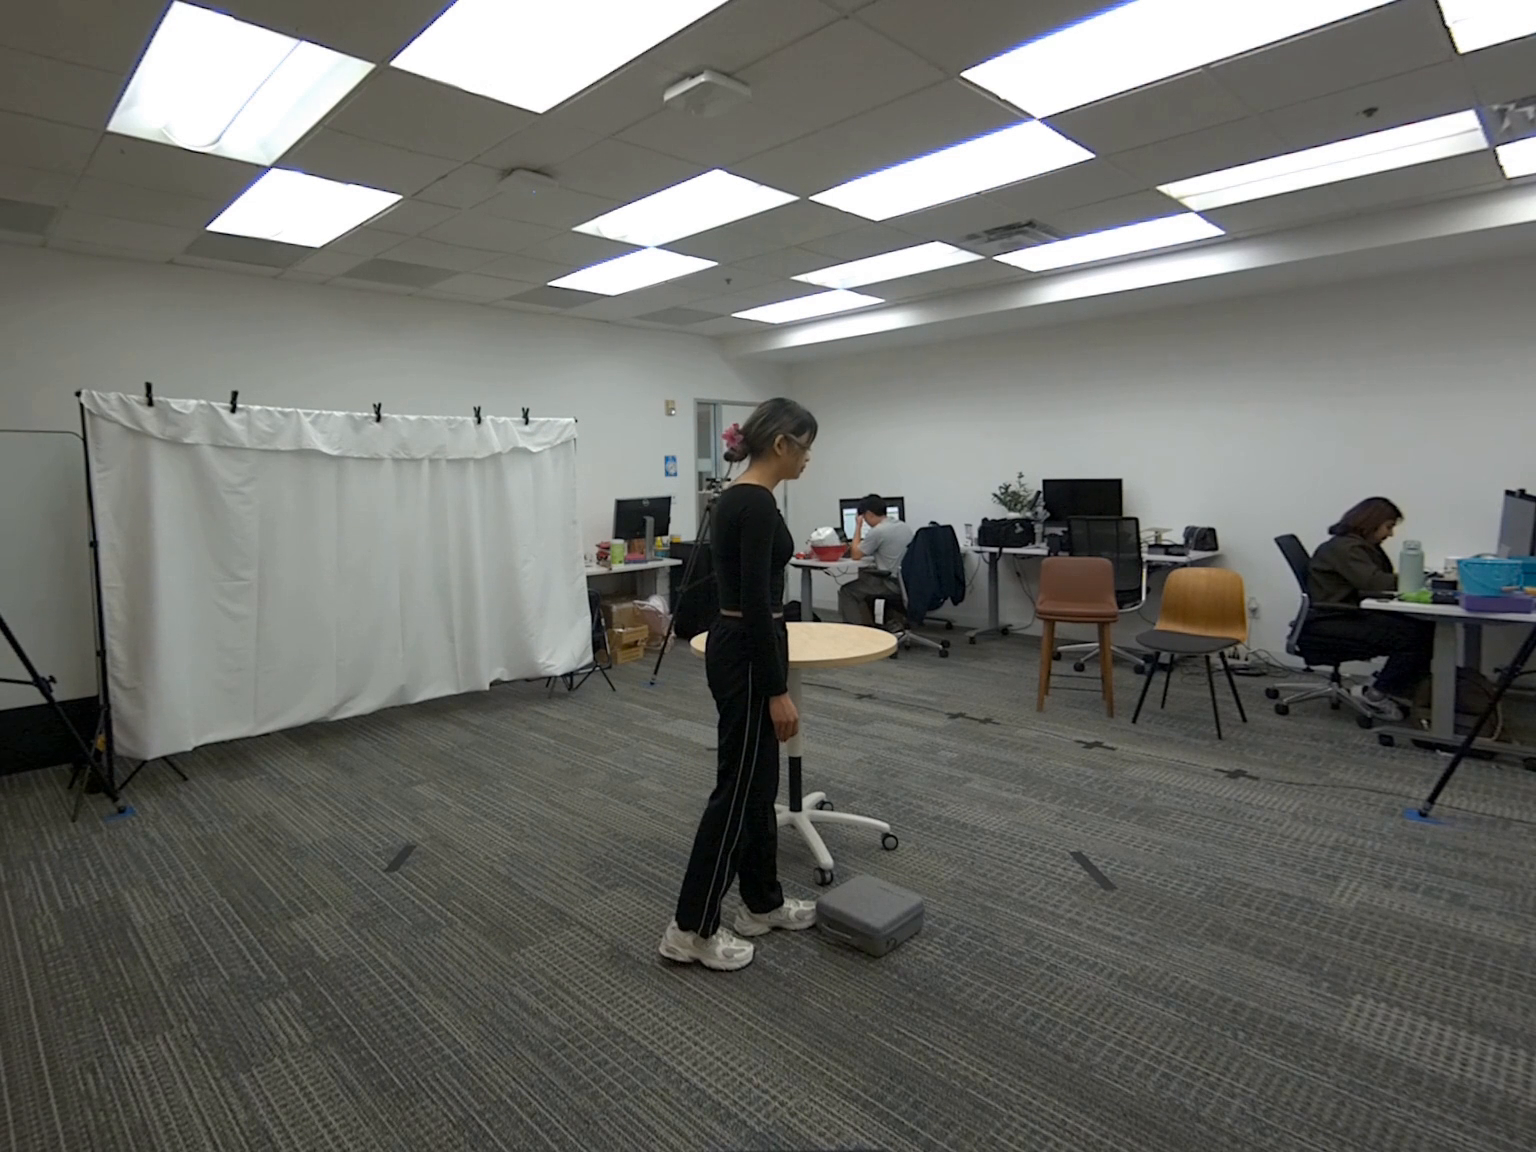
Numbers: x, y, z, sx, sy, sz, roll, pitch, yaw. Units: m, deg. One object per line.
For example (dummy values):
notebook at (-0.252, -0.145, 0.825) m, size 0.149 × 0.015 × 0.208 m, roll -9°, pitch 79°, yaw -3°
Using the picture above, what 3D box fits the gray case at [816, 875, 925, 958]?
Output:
gray case at (0.314, 1.032, 2.628) m, size 0.254 × 0.104 × 0.265 m, roll -8°, pitch 10°, yaw -43°
